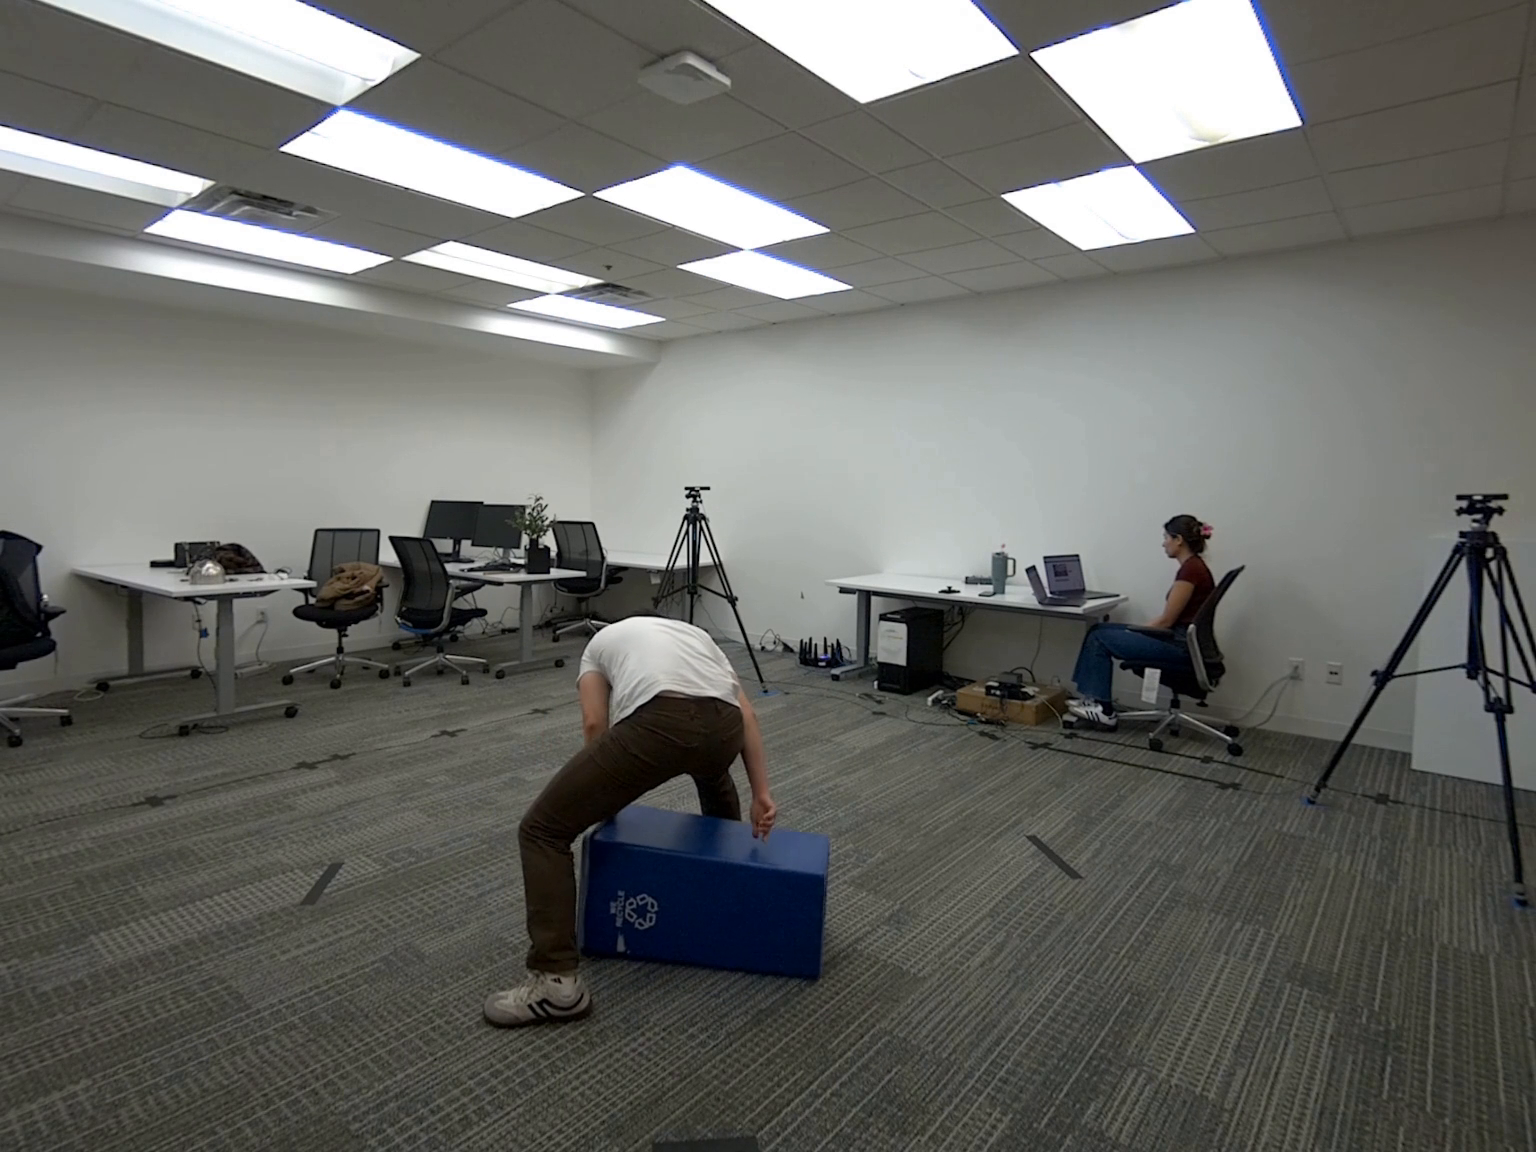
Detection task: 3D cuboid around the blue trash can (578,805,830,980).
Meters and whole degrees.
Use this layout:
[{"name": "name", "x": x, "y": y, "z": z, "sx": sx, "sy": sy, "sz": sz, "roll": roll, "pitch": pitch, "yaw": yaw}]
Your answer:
[{"name": "blue trash can", "x": -0.189, "y": 0.939, "z": 2.586, "sx": 0.722, "sy": 0.377, "sz": 0.370, "roll": 3, "pitch": 2, "yaw": 10}]
